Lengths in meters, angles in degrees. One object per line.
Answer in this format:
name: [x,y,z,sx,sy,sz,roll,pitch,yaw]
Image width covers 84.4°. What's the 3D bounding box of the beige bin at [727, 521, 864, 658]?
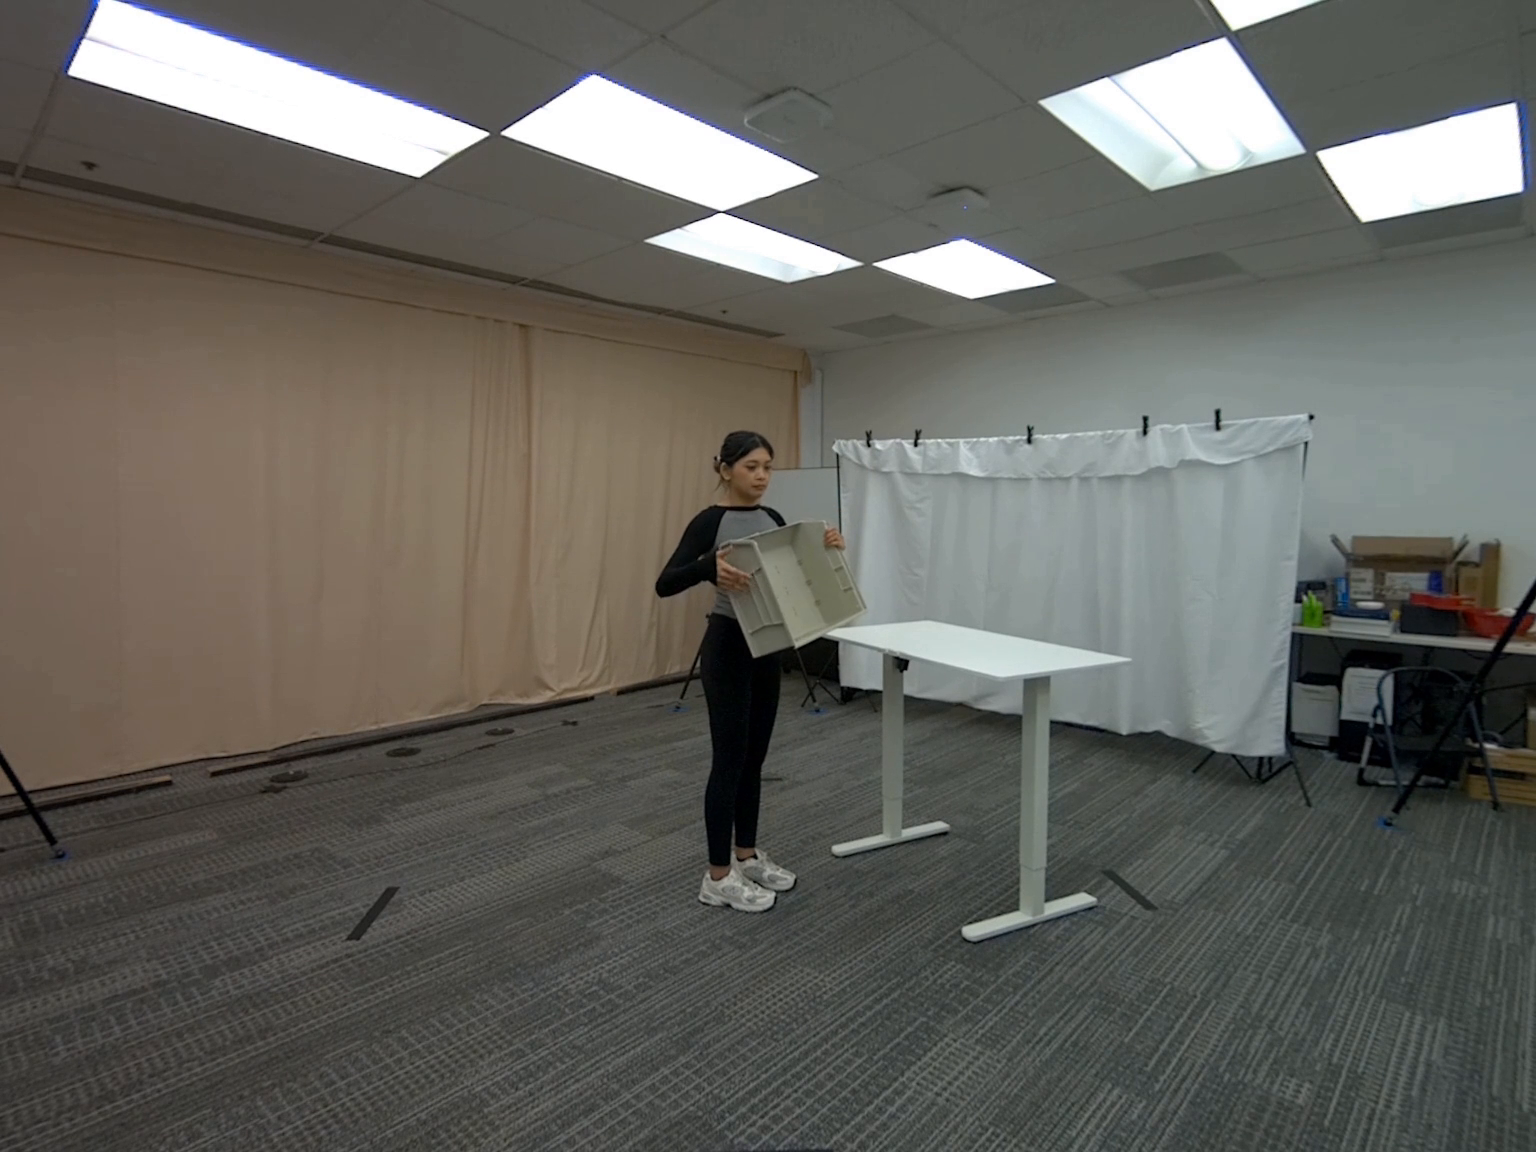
beige bin: [0.076,0.024,2.715,0.193,0.379,0.412,-25,-4,39]
